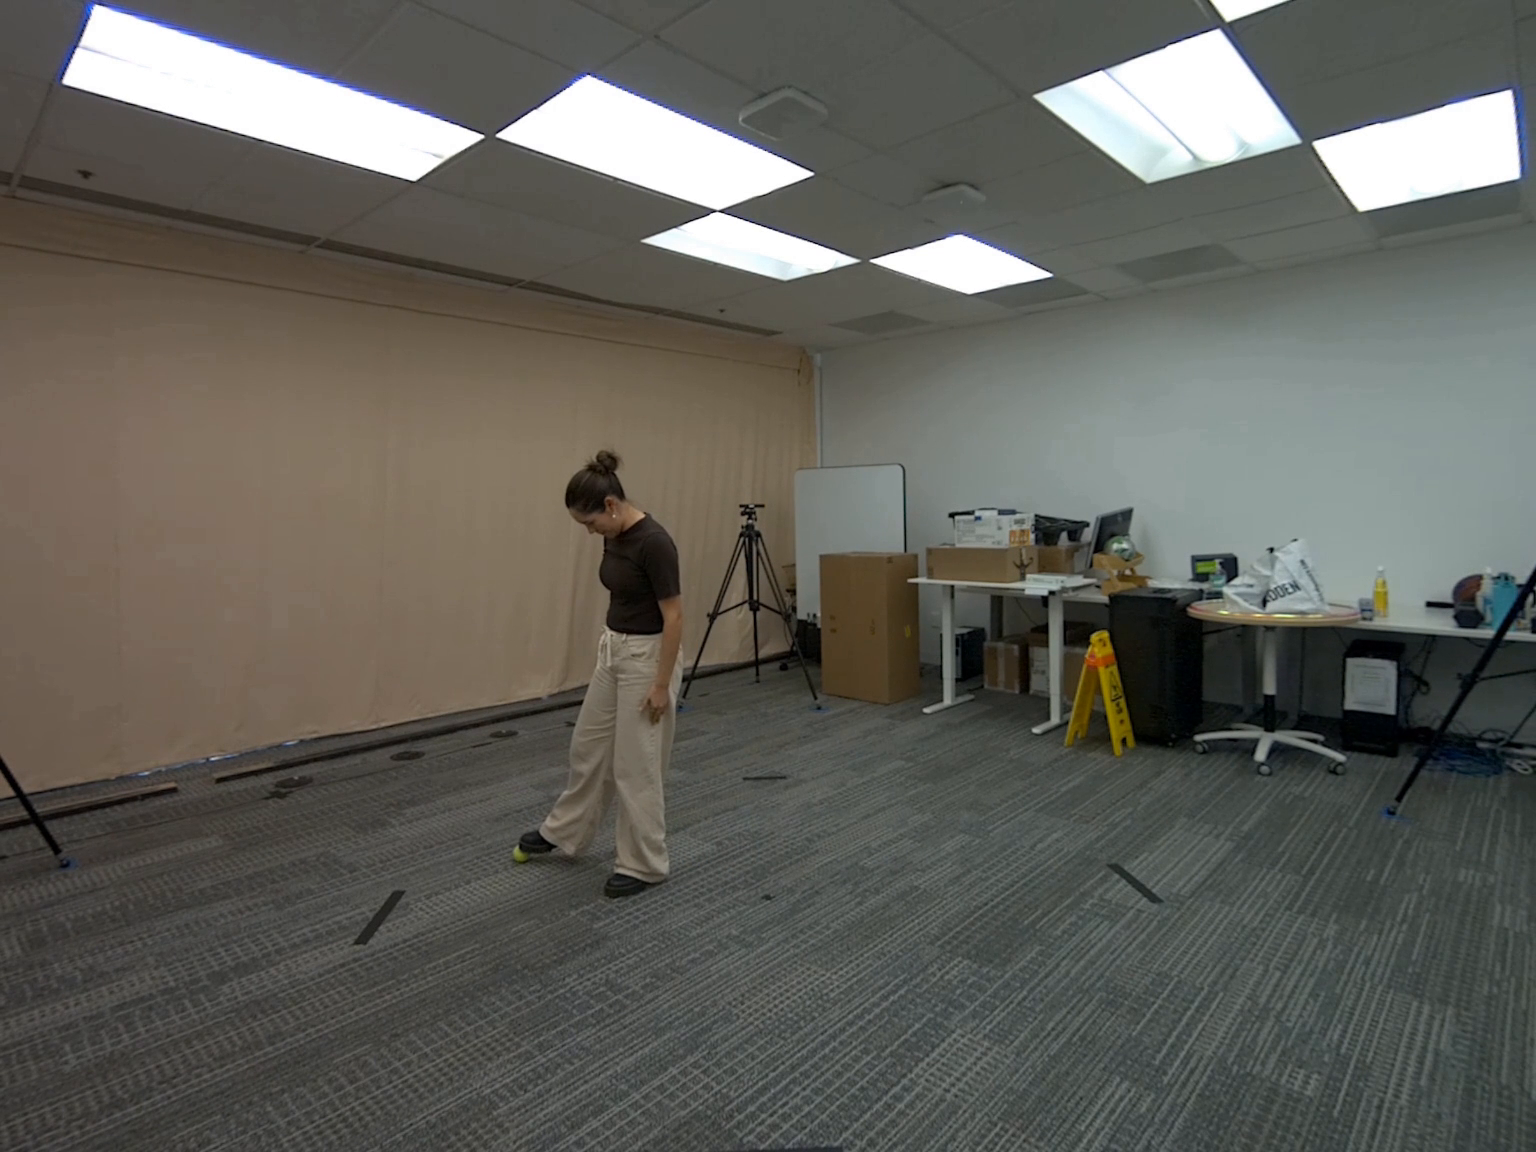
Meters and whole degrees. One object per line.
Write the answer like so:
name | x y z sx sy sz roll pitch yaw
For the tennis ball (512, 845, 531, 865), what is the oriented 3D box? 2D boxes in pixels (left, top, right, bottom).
tennis ball | -0.976 1.109 3.341 0.066 0.066 0.067 -1 4 -2
